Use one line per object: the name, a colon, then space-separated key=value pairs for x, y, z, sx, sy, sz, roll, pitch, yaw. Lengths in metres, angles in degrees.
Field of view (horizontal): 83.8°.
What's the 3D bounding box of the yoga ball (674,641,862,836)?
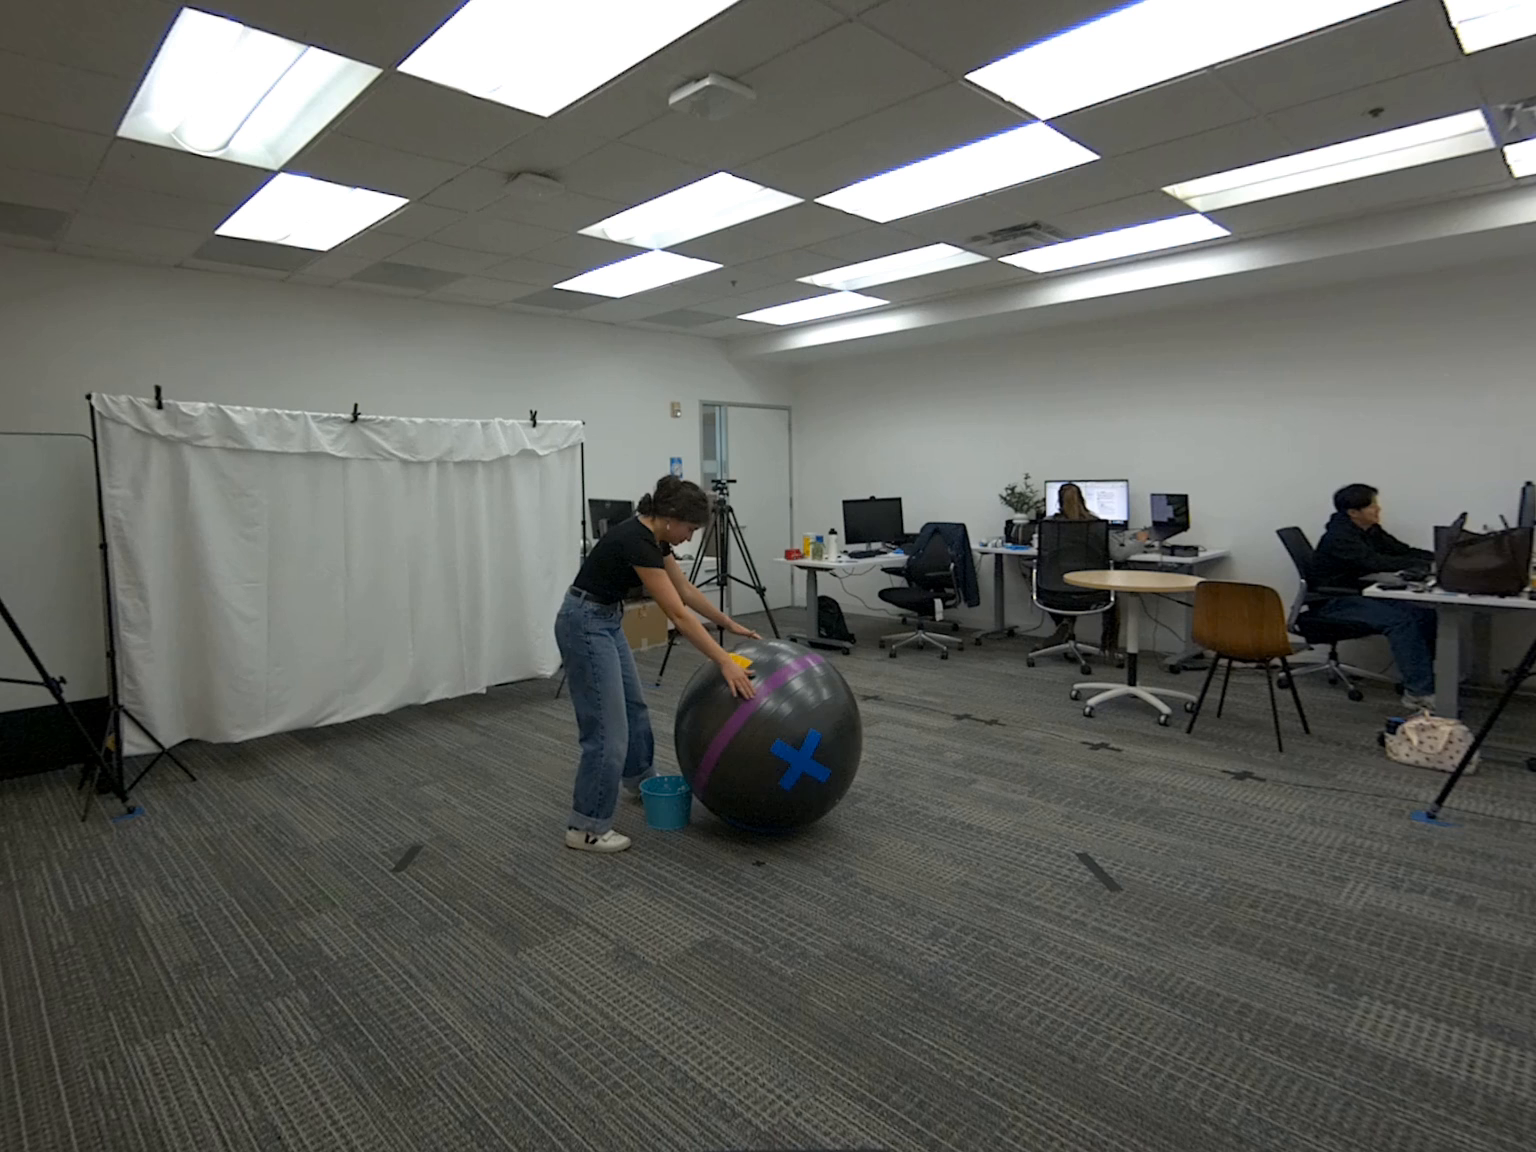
yoga ball: x=0.002 y=0.641 z=3.438 sx=0.757 sy=0.755 sz=0.762 roll=-1 pitch=5 yaw=-2
